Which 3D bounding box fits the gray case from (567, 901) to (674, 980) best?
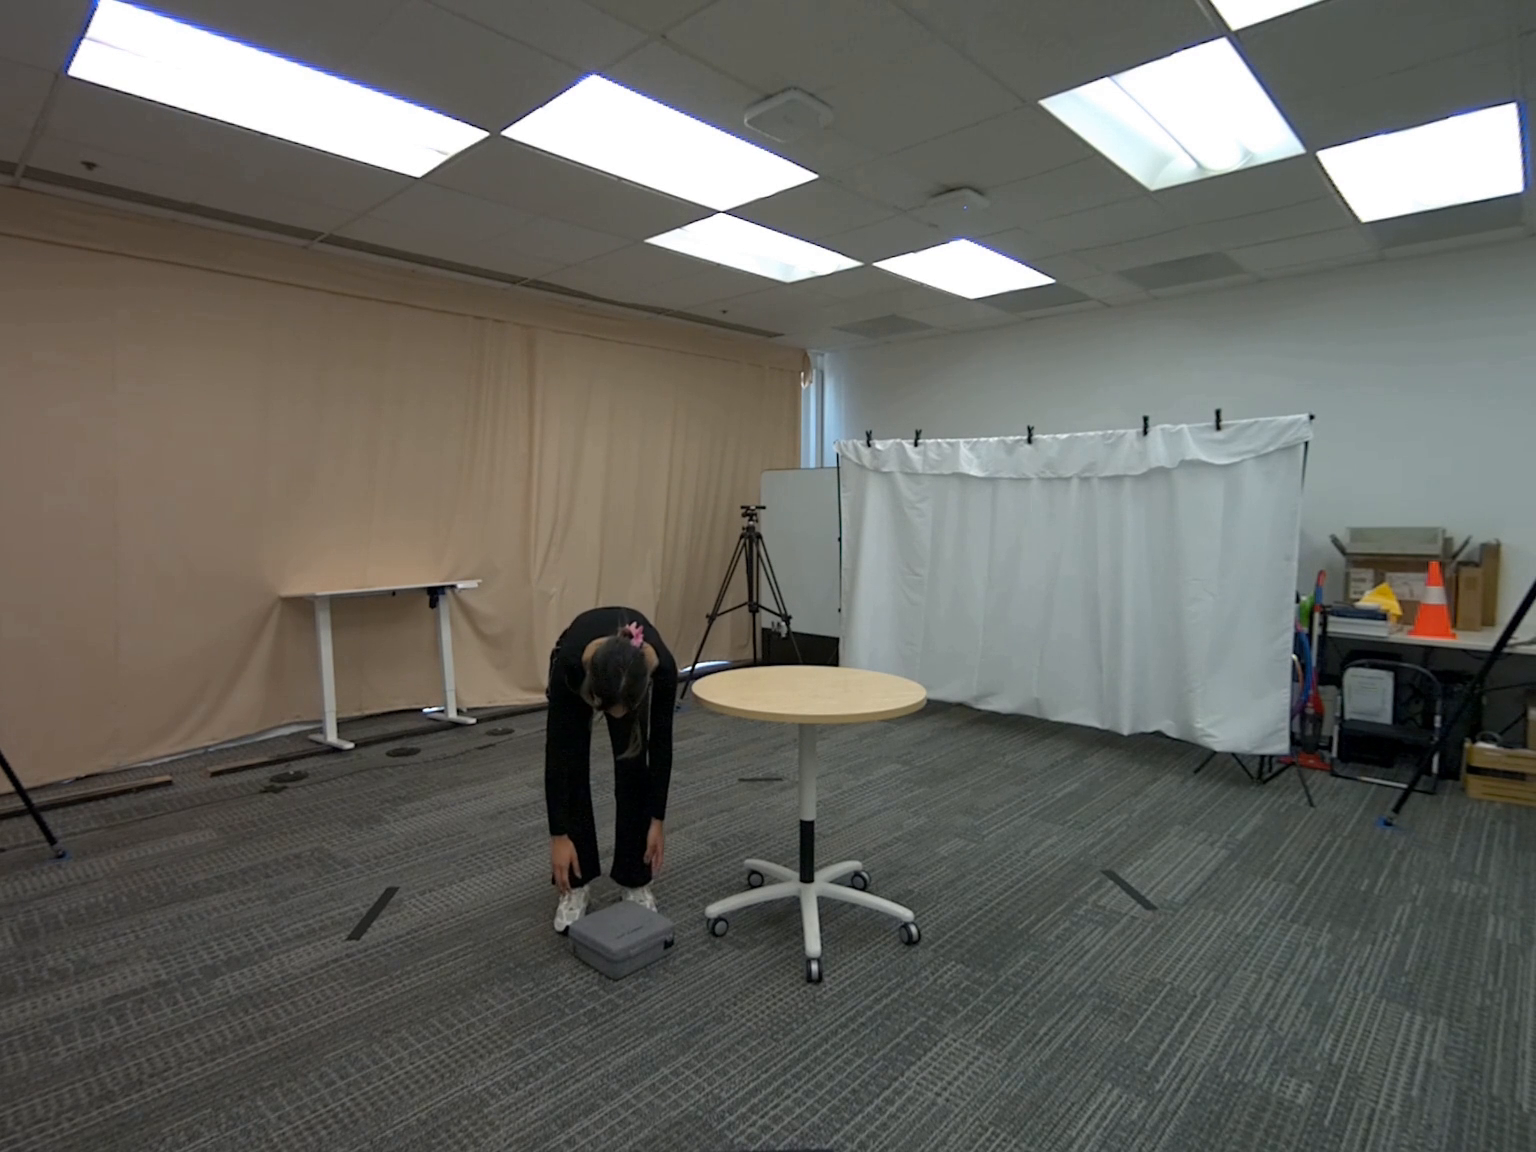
[{"bbox_3d":[-0.453,1.116,2.624,0.269,0.104,0.249,3,6,45],"label":"gray case"}]
